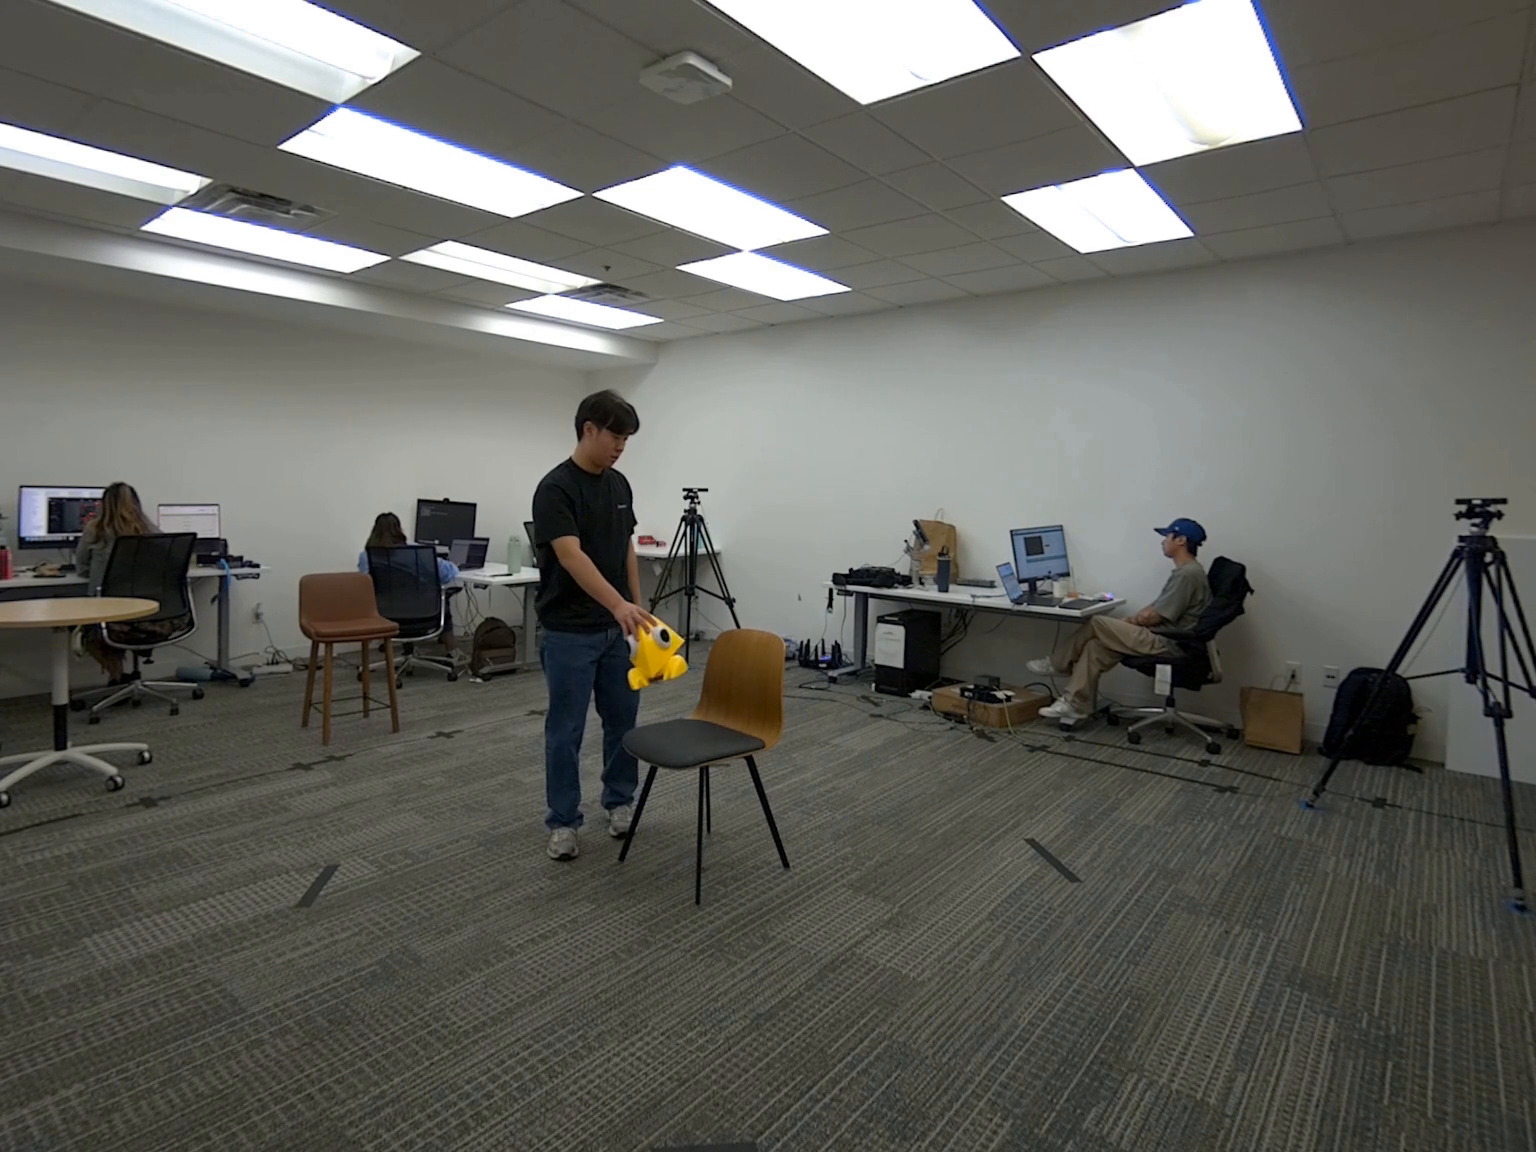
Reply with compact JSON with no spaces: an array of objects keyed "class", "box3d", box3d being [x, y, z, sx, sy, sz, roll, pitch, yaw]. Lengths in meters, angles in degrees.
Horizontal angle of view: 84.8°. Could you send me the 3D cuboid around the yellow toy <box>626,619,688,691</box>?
[{"class":"yellow toy","box3d":[-0.417,0.236,2.864,0.206,0.230,0.193,-17,4,6]}]
